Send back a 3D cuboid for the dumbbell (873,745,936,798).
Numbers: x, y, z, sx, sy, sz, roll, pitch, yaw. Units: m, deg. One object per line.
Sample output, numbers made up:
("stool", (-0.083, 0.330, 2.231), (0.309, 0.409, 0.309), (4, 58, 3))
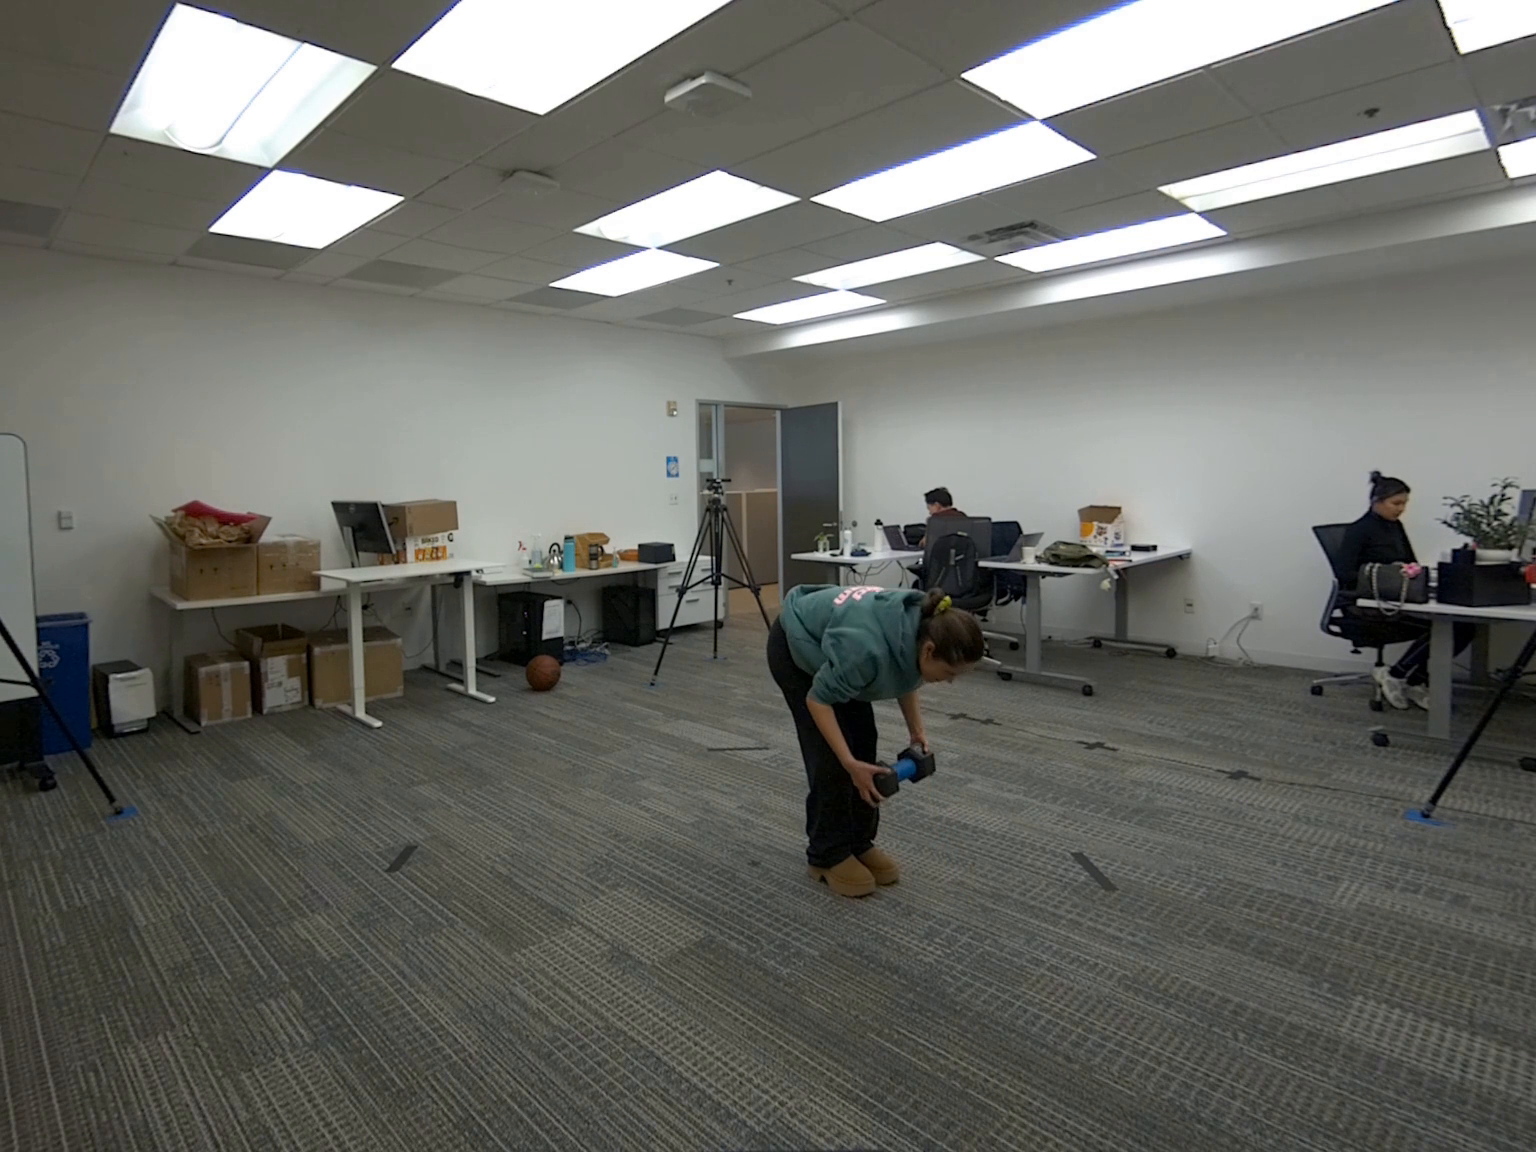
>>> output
("dumbbell", (0.427, 0.637, 2.767), (0.111, 0.123, 0.286), (-5, 4, 45))
